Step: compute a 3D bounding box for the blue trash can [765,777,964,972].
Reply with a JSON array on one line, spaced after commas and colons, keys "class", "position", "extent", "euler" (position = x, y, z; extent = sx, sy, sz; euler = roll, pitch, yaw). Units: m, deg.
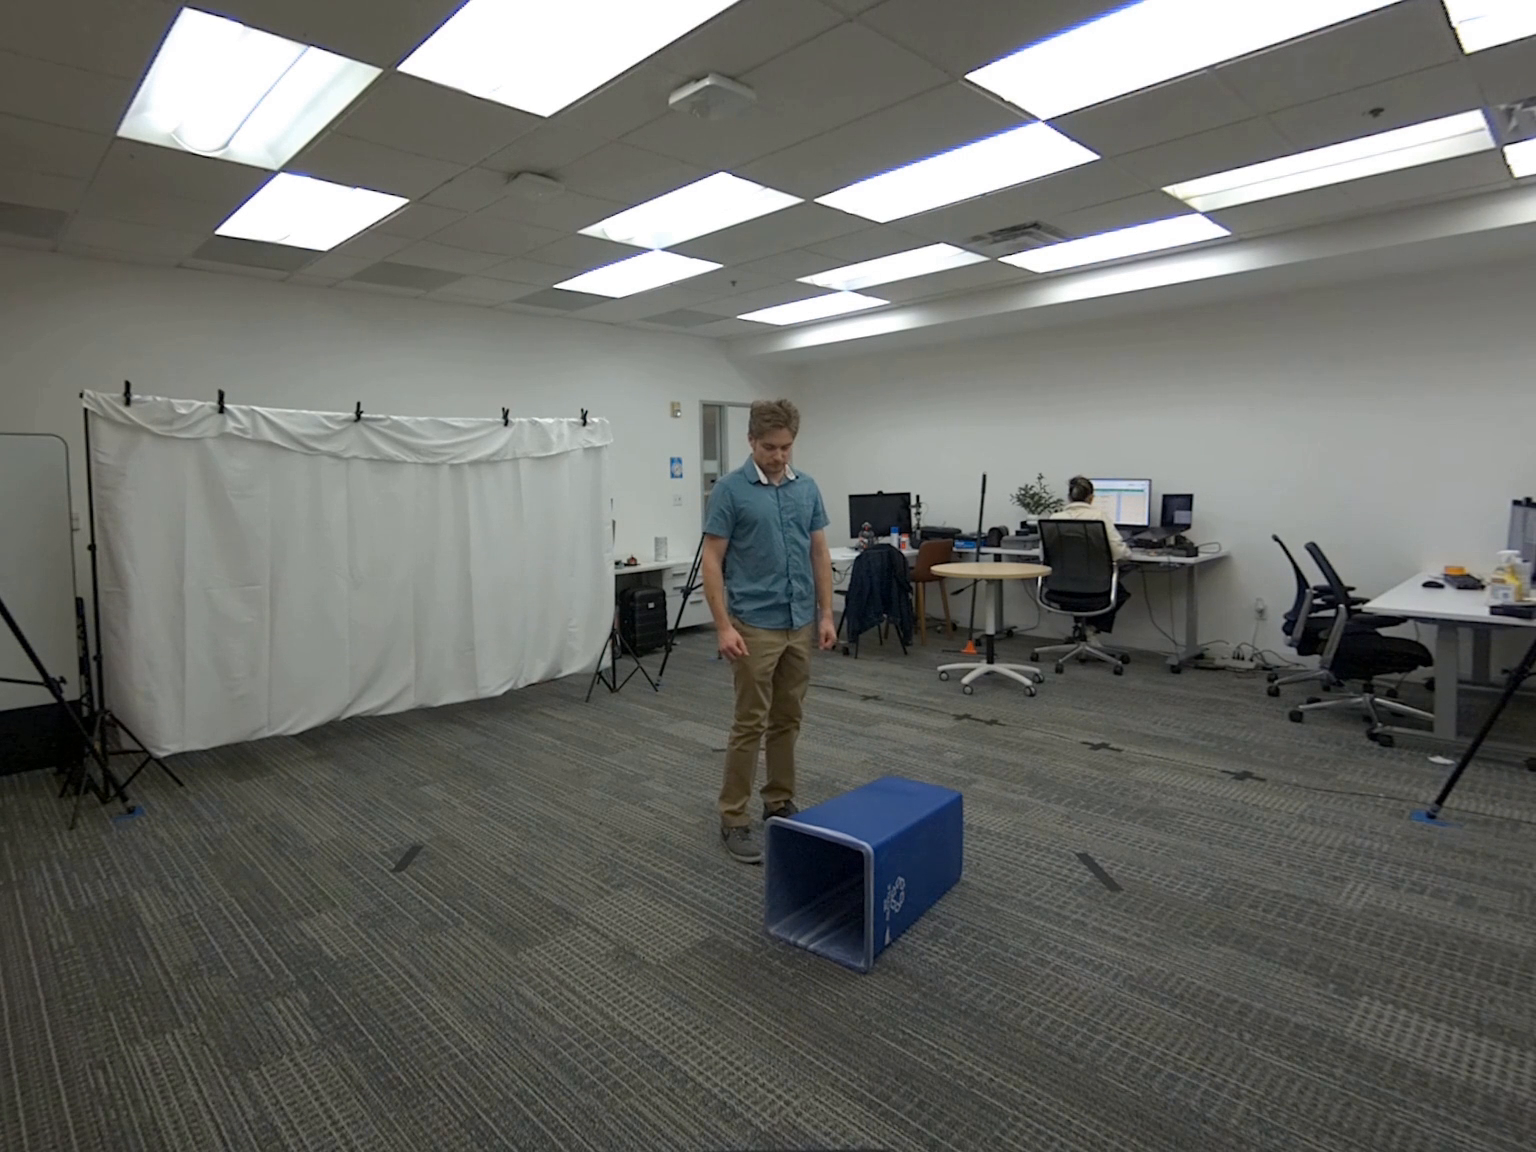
[{"class": "blue trash can", "position": [0.343, 0.915, 2.782], "extent": [0.385, 0.377, 0.694], "euler": [2, 3, 37]}]
